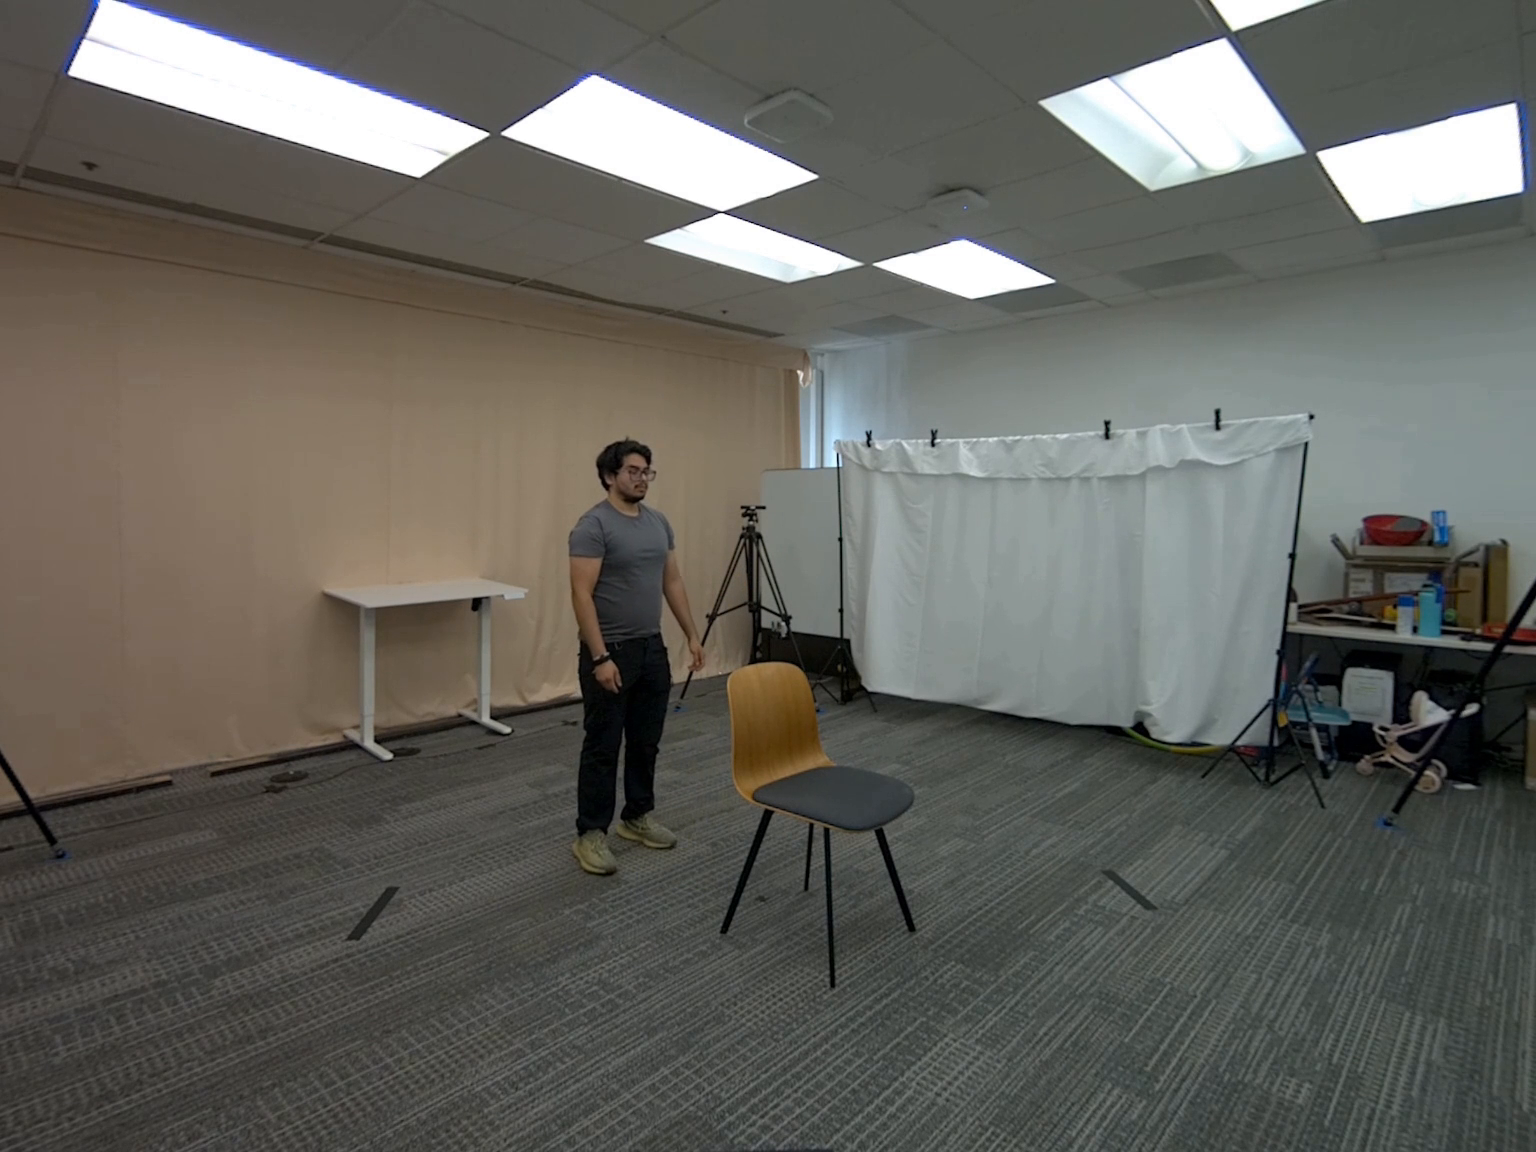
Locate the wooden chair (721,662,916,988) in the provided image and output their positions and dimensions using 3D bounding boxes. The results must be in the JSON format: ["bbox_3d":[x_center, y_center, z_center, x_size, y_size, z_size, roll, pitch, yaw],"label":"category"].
[{"bbox_3d":[0.173,0.739,2.709,0.539,0.877,0.463,-3,1,43],"label":"wooden chair"}]
